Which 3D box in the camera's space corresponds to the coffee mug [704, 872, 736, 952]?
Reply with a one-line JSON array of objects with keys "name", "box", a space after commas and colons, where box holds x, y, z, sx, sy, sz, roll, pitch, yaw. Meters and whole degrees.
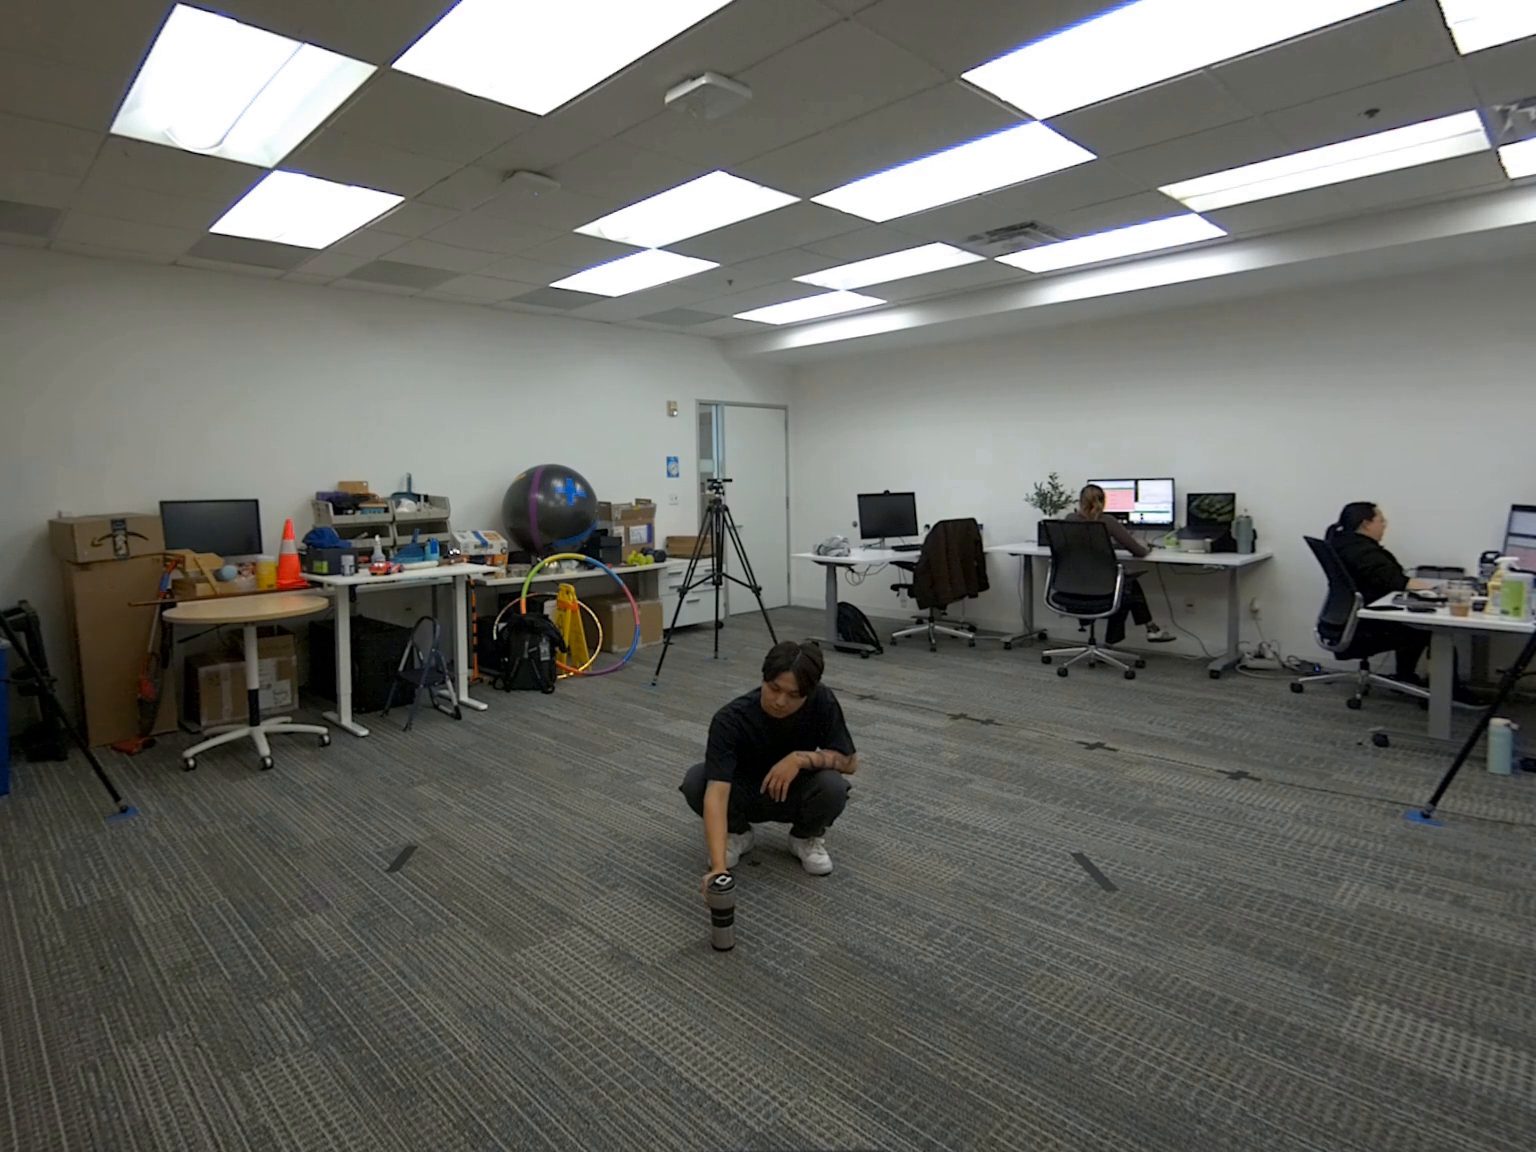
[{"name": "coffee mug", "box": [-0.123, 1.013, 2.570, 0.090, 0.202, 0.119, -3, 5, 43]}]
